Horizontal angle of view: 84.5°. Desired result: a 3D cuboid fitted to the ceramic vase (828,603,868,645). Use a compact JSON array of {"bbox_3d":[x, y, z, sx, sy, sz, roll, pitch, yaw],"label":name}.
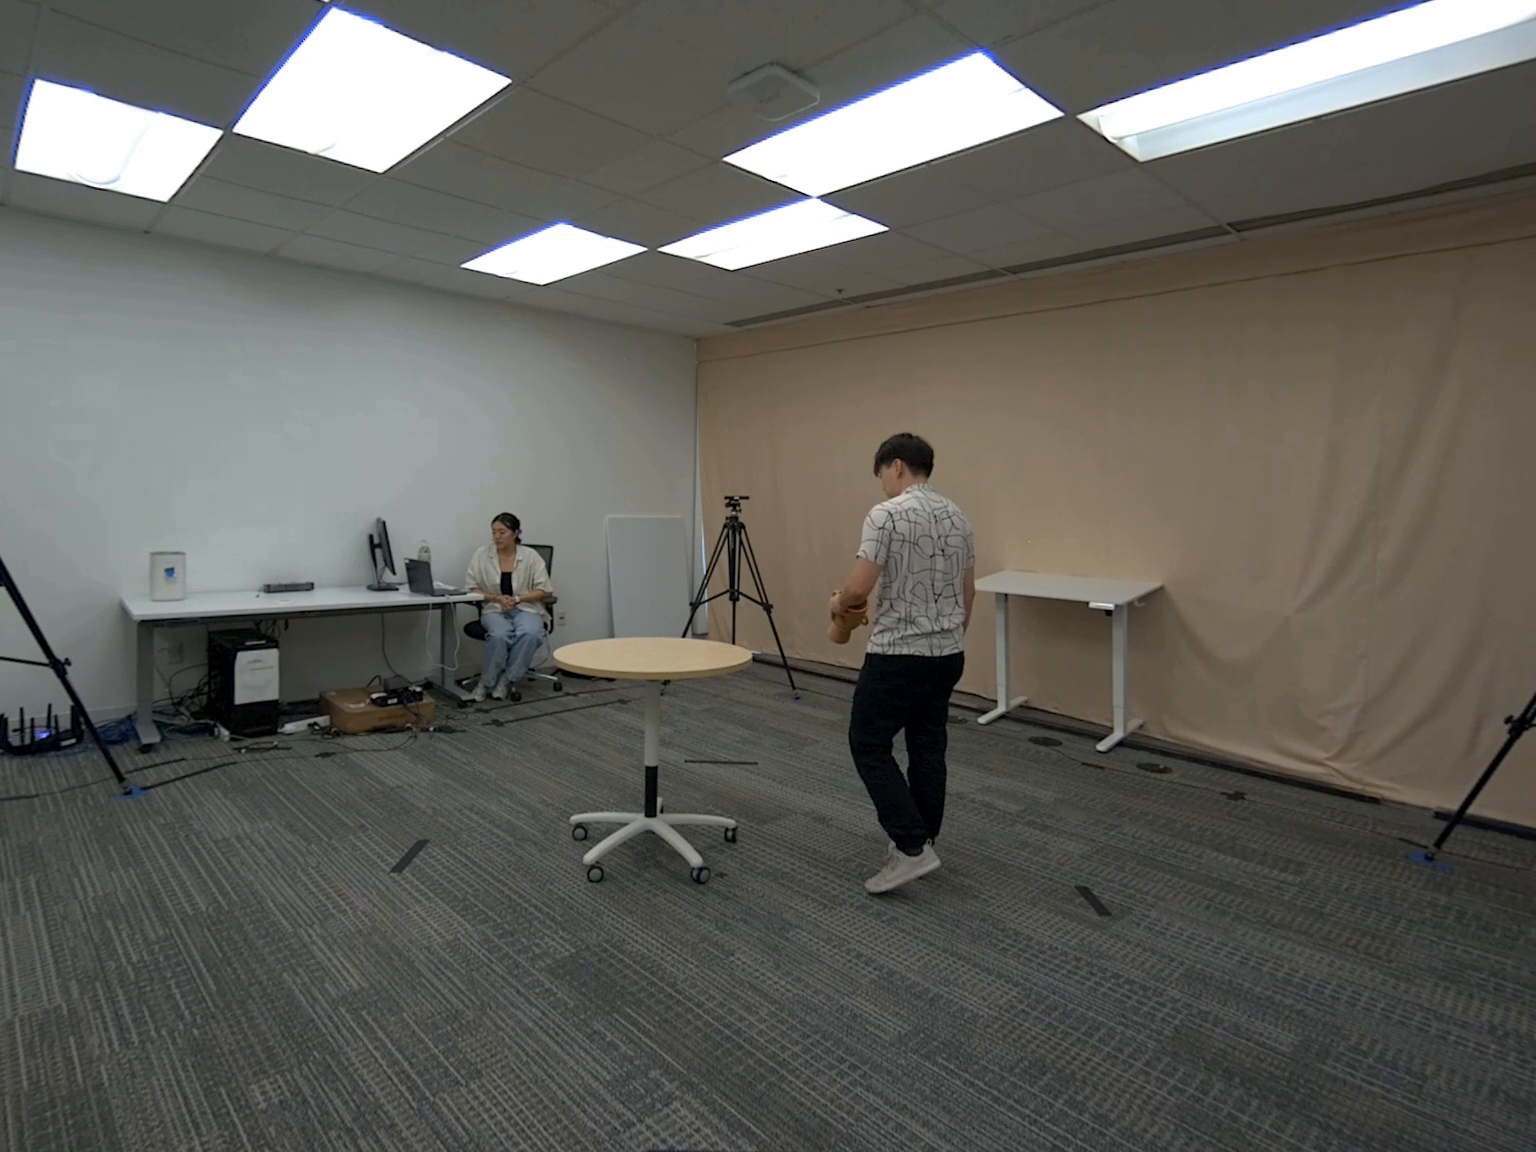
[{"bbox_3d":[0.318,0.172,3.430,0.133,0.216,0.162,6,42,-10],"label":"ceramic vase"}]
